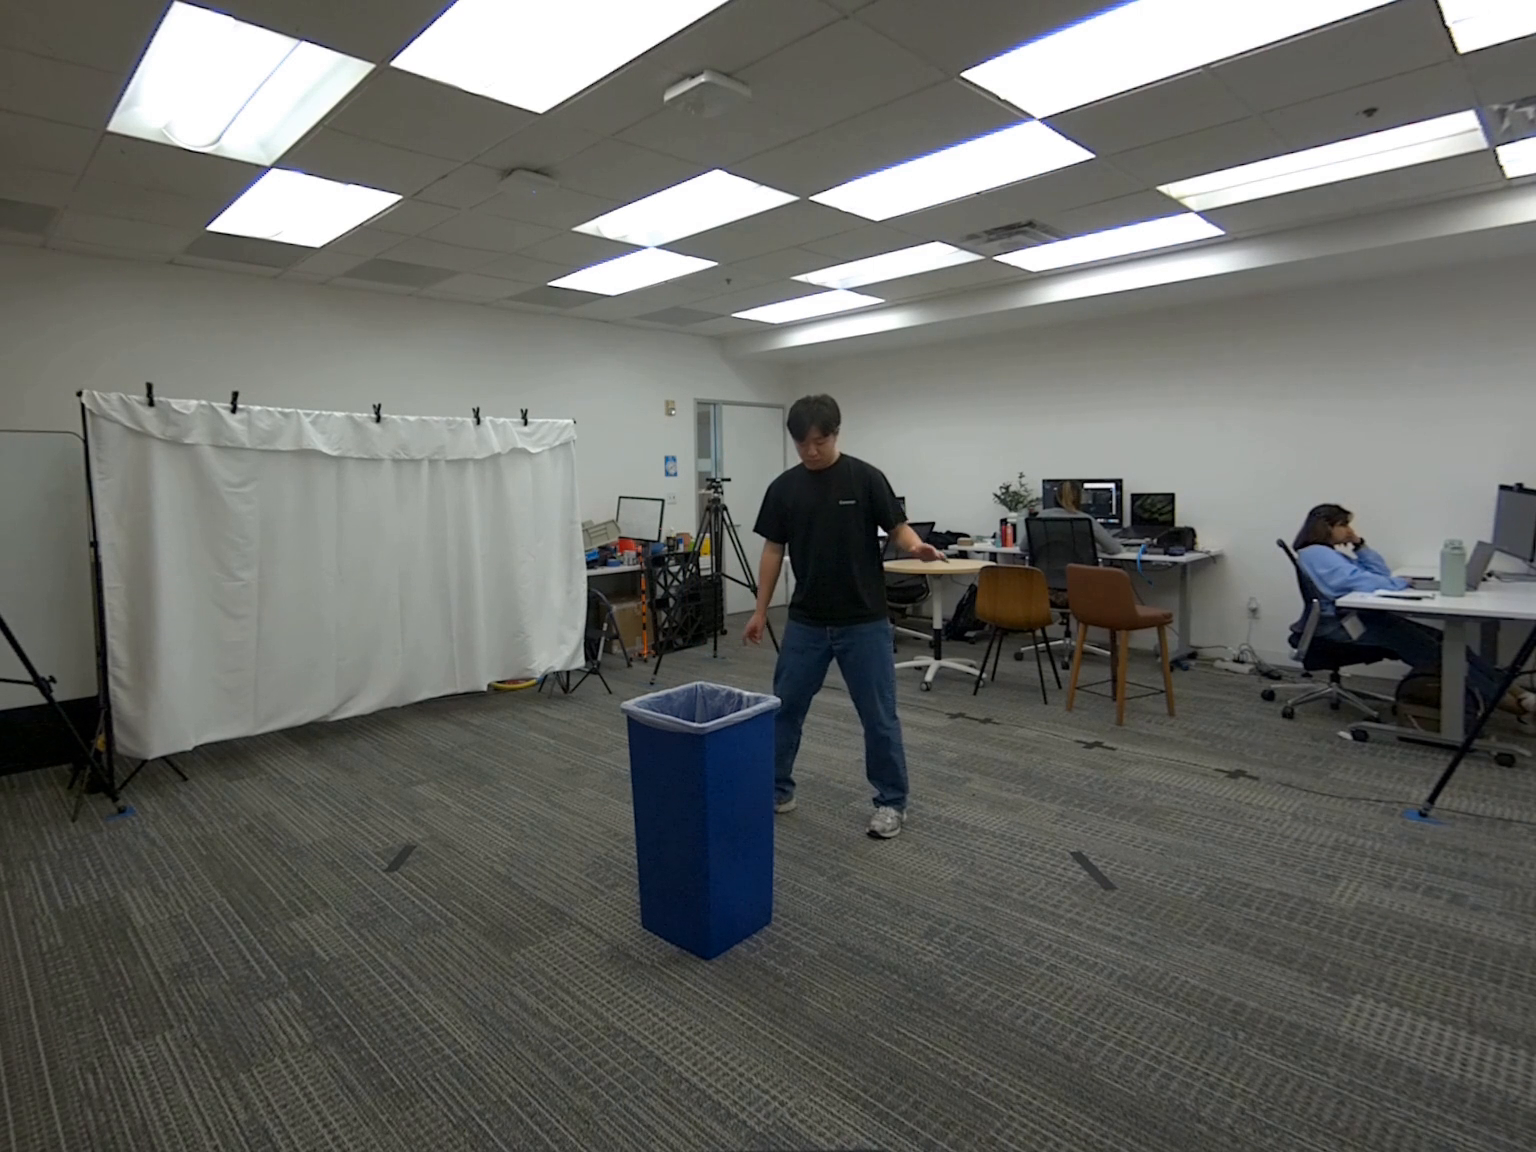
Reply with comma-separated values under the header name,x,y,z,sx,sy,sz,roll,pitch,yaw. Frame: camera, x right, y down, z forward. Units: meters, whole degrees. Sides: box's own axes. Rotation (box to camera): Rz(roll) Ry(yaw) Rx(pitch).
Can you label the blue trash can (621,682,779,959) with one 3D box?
name,x,y,z,sx,sy,sz,roll,pitch,yaw
blue trash can,-0.196,0.740,2.654,0.389,0.711,0.364,2,5,41
